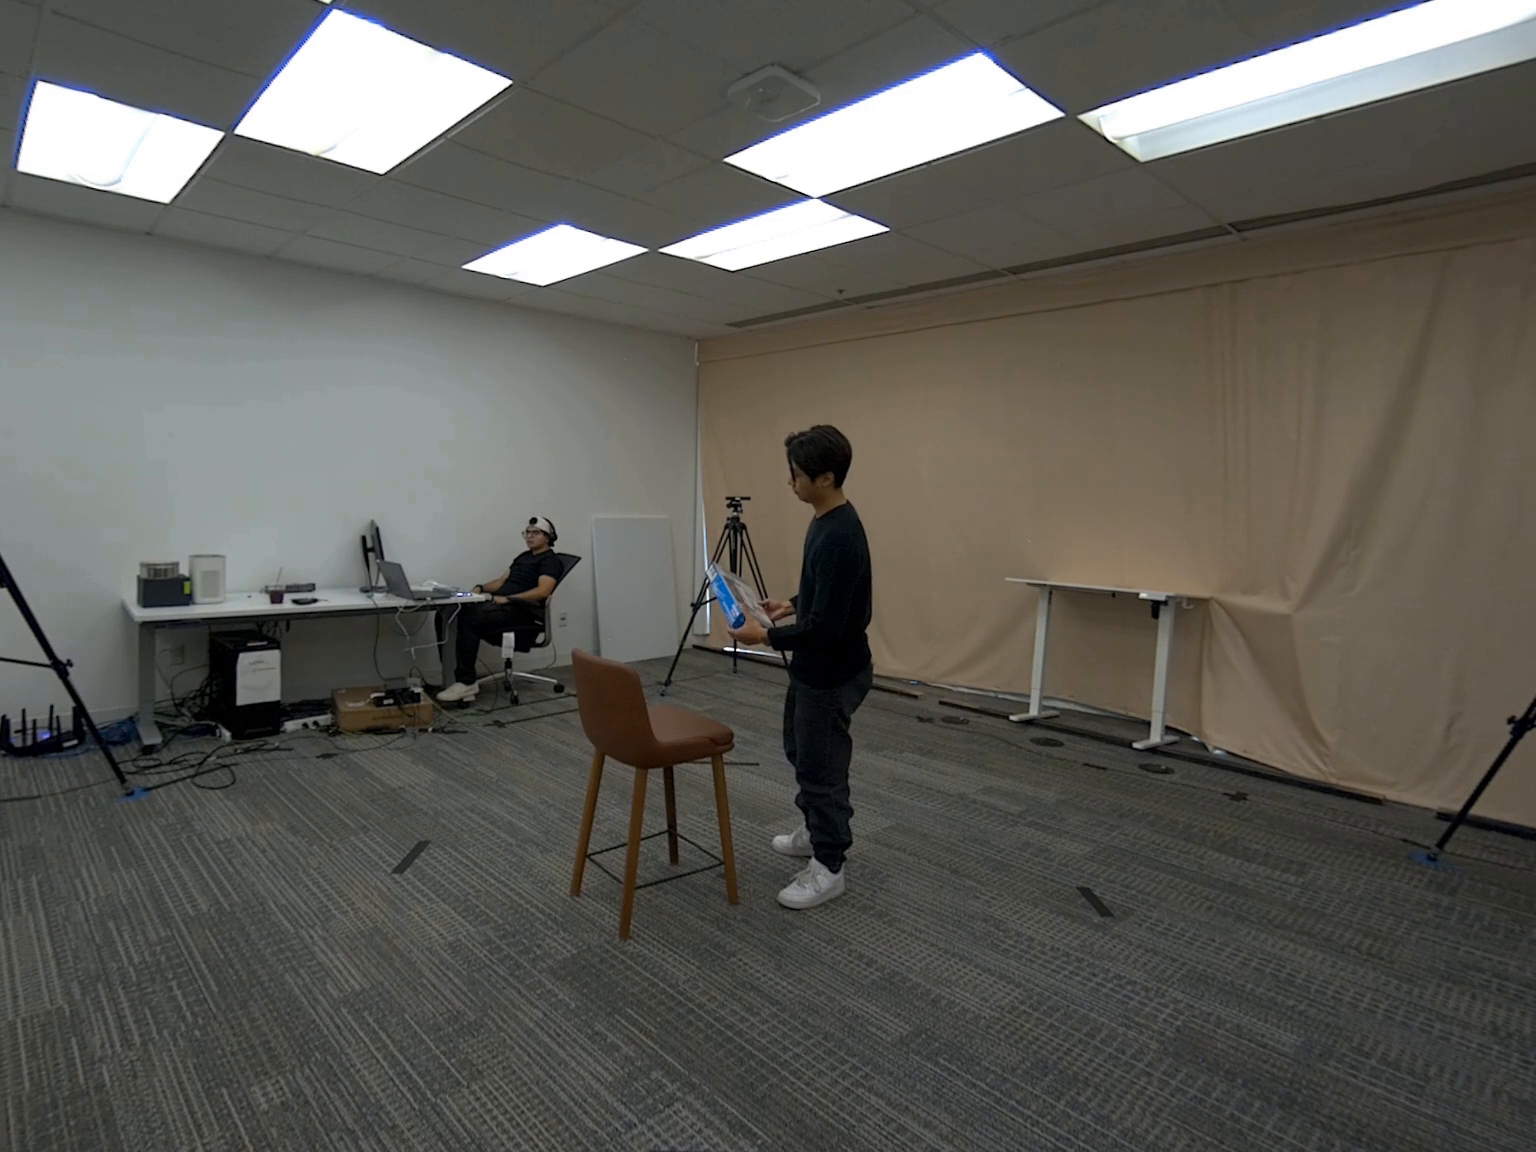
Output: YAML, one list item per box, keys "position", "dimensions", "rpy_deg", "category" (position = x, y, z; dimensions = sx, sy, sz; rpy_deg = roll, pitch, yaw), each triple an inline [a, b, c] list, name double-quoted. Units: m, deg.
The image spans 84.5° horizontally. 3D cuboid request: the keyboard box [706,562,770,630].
- position: [-0.112, 0.094, 3.060]
  dimensions: [0.172, 0.059, 0.448]
  rpy_deg: [31, 11, -25]
  category: "keyboard box"
